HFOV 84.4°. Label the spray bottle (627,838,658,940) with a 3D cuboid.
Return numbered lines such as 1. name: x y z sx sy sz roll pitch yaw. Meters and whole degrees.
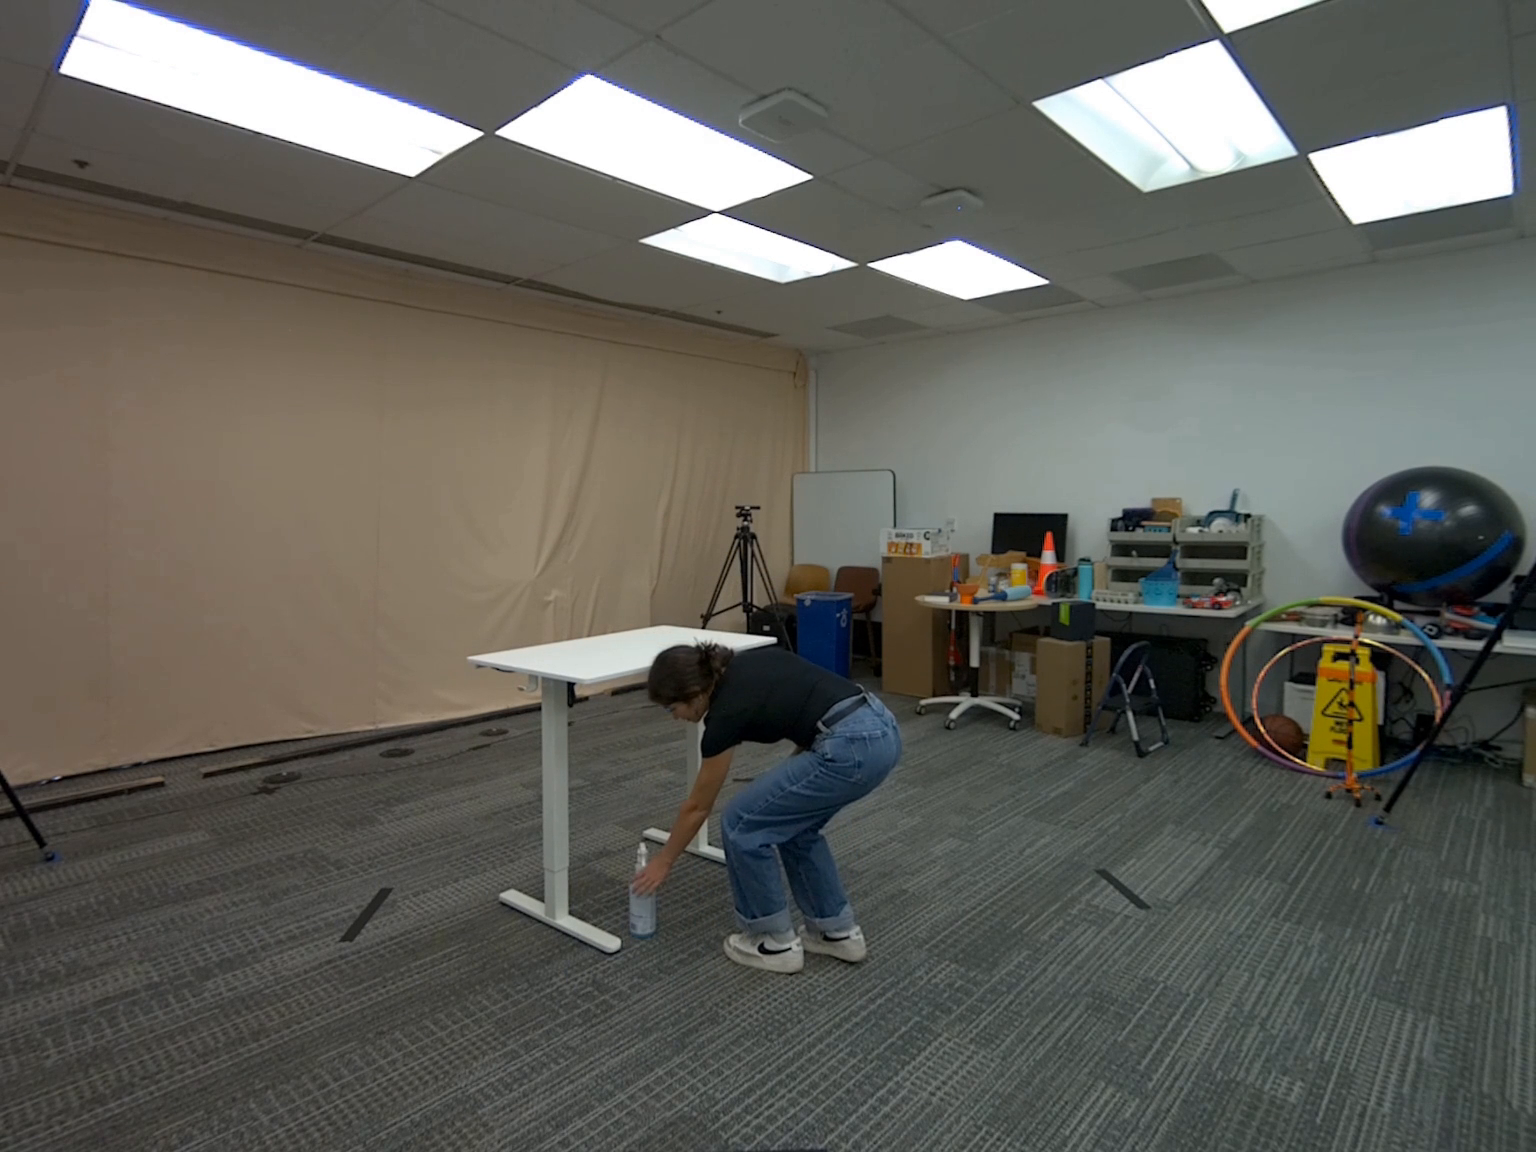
1. spray bottle: -0.415 1.029 2.738 0.089 0.296 0.088 1 6 21
